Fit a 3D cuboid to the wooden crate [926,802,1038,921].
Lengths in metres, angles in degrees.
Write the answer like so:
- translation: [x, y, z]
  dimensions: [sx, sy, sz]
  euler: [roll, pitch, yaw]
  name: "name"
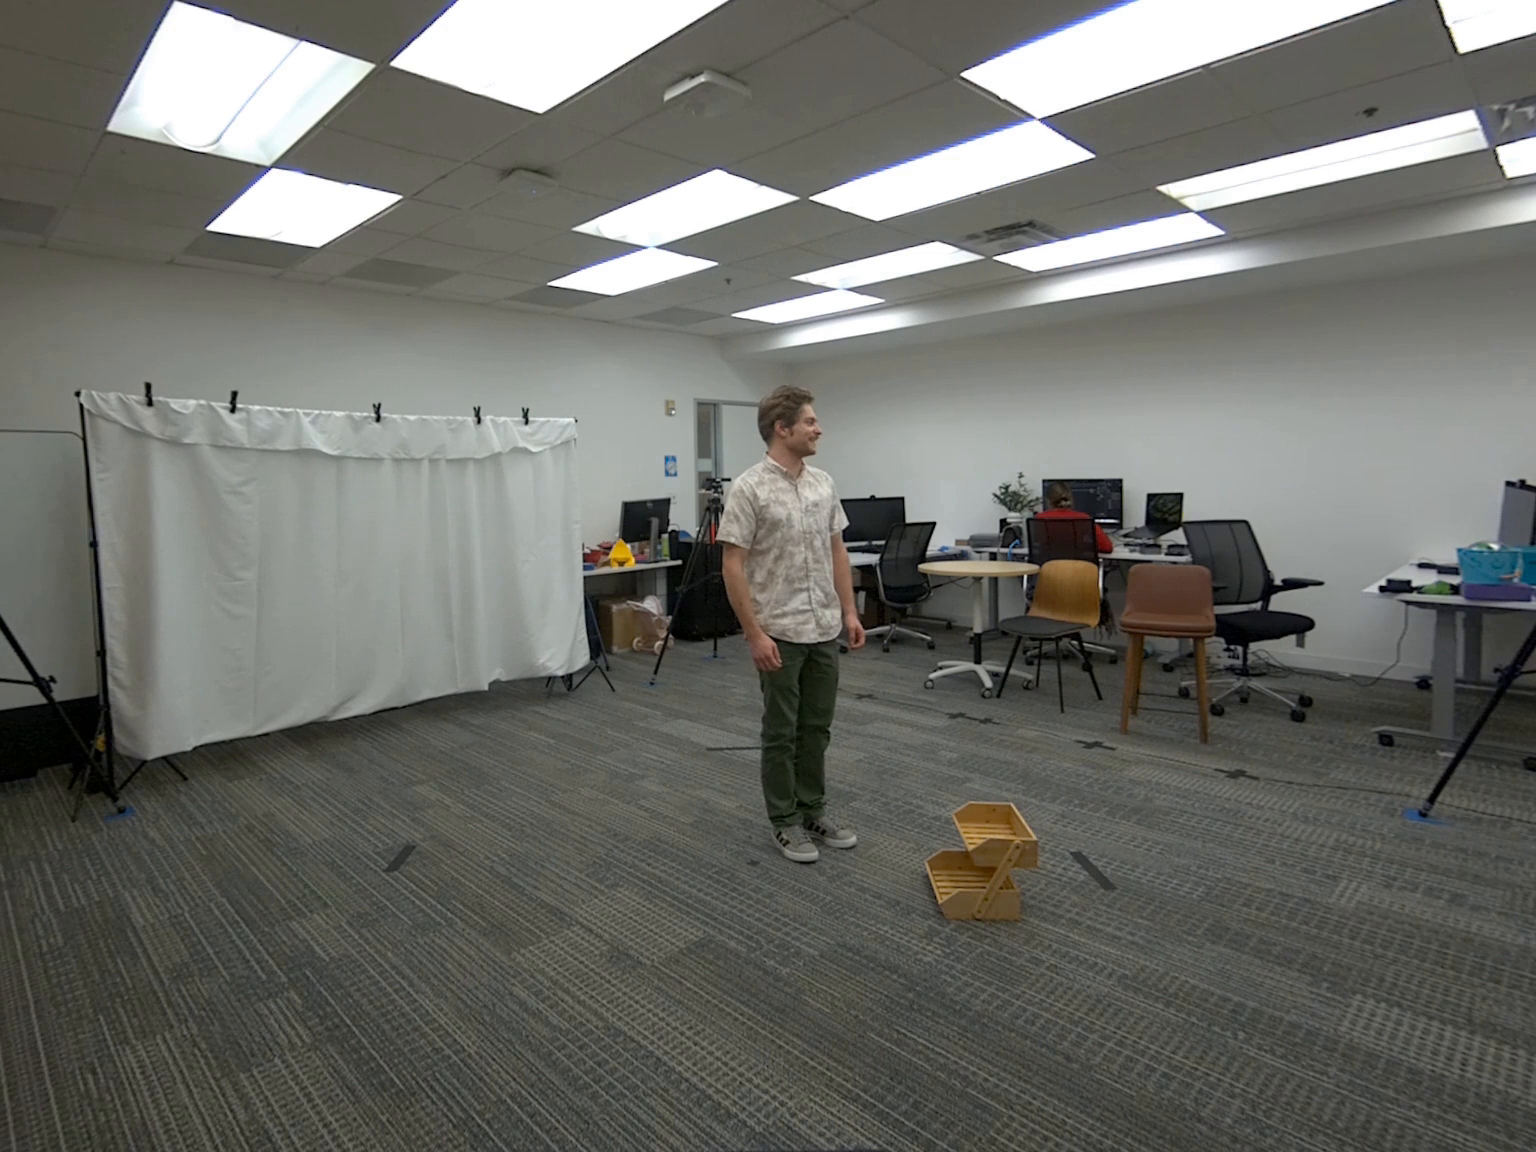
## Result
- translation: [0.696, 0.929, 2.817]
  dimensions: [0.303, 0.272, 0.325]
  euler: [0, 5, 2]
  name: "wooden crate"
